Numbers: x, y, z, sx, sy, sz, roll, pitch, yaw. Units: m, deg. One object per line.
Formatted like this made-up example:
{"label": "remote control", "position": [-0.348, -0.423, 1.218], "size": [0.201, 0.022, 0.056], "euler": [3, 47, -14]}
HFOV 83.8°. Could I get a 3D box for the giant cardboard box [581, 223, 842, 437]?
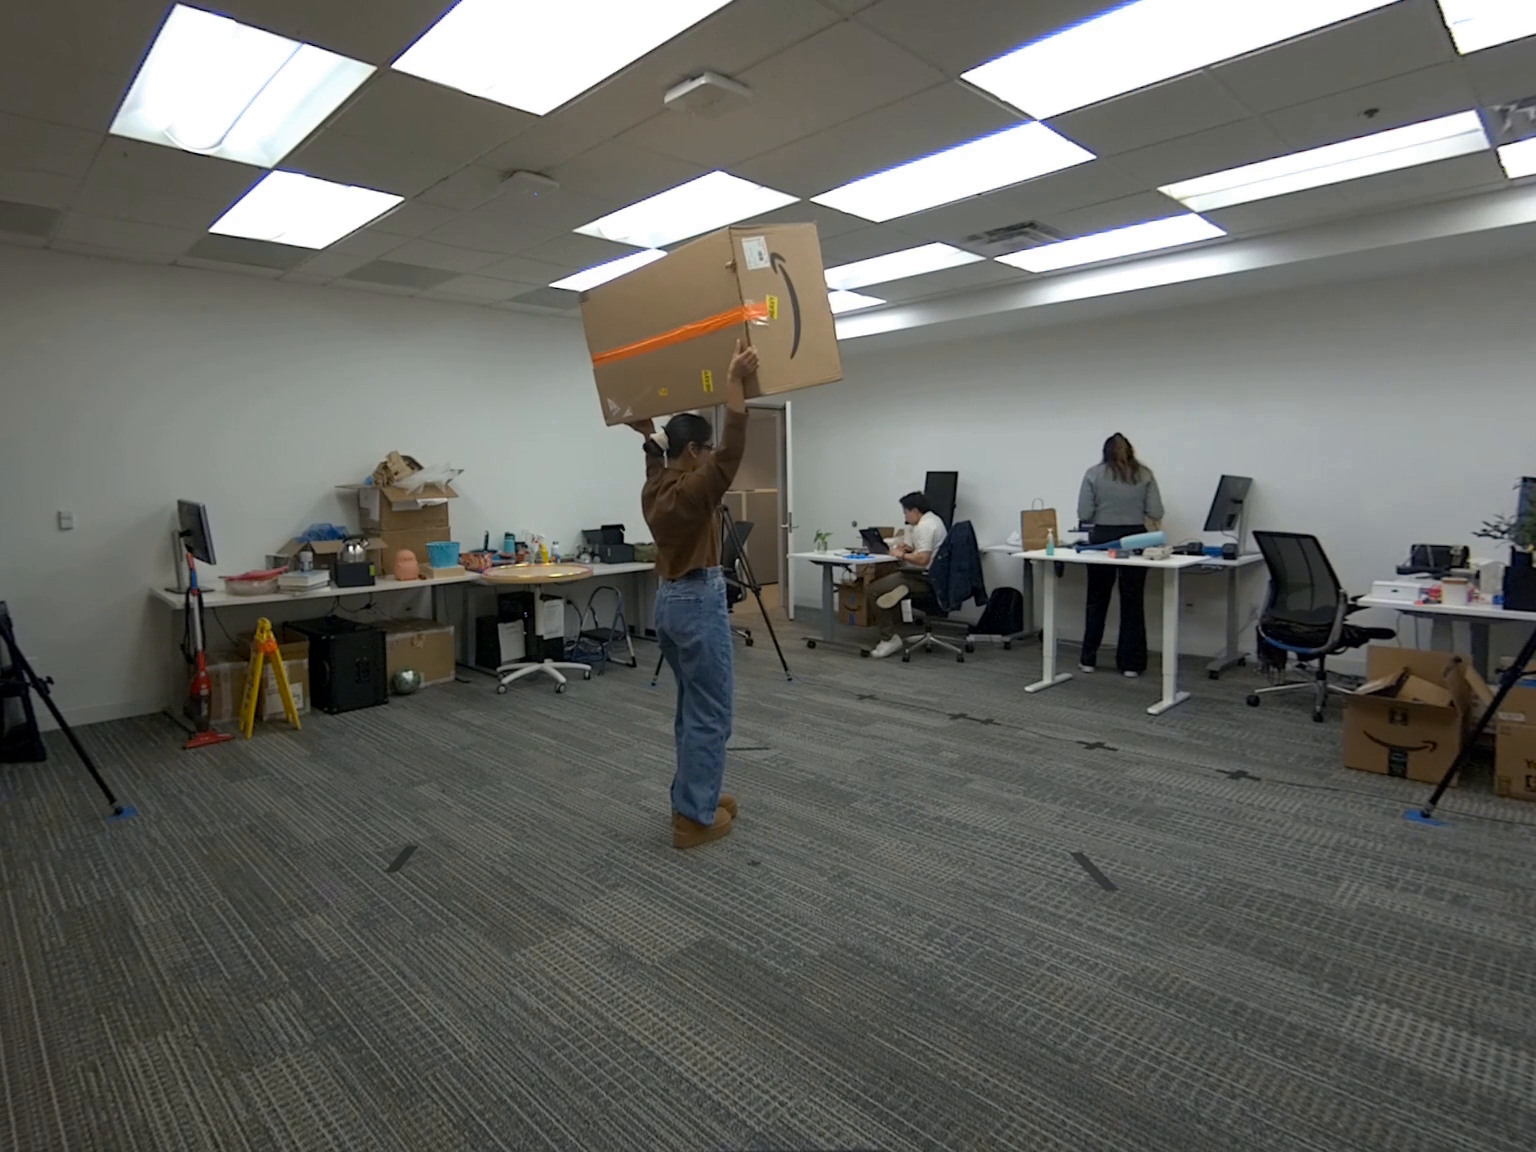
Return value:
{"label": "giant cardboard box", "position": [-0.266, -0.960, 3.396], "size": [0.419, 0.571, 1.056], "euler": [-20, 14, -38]}
